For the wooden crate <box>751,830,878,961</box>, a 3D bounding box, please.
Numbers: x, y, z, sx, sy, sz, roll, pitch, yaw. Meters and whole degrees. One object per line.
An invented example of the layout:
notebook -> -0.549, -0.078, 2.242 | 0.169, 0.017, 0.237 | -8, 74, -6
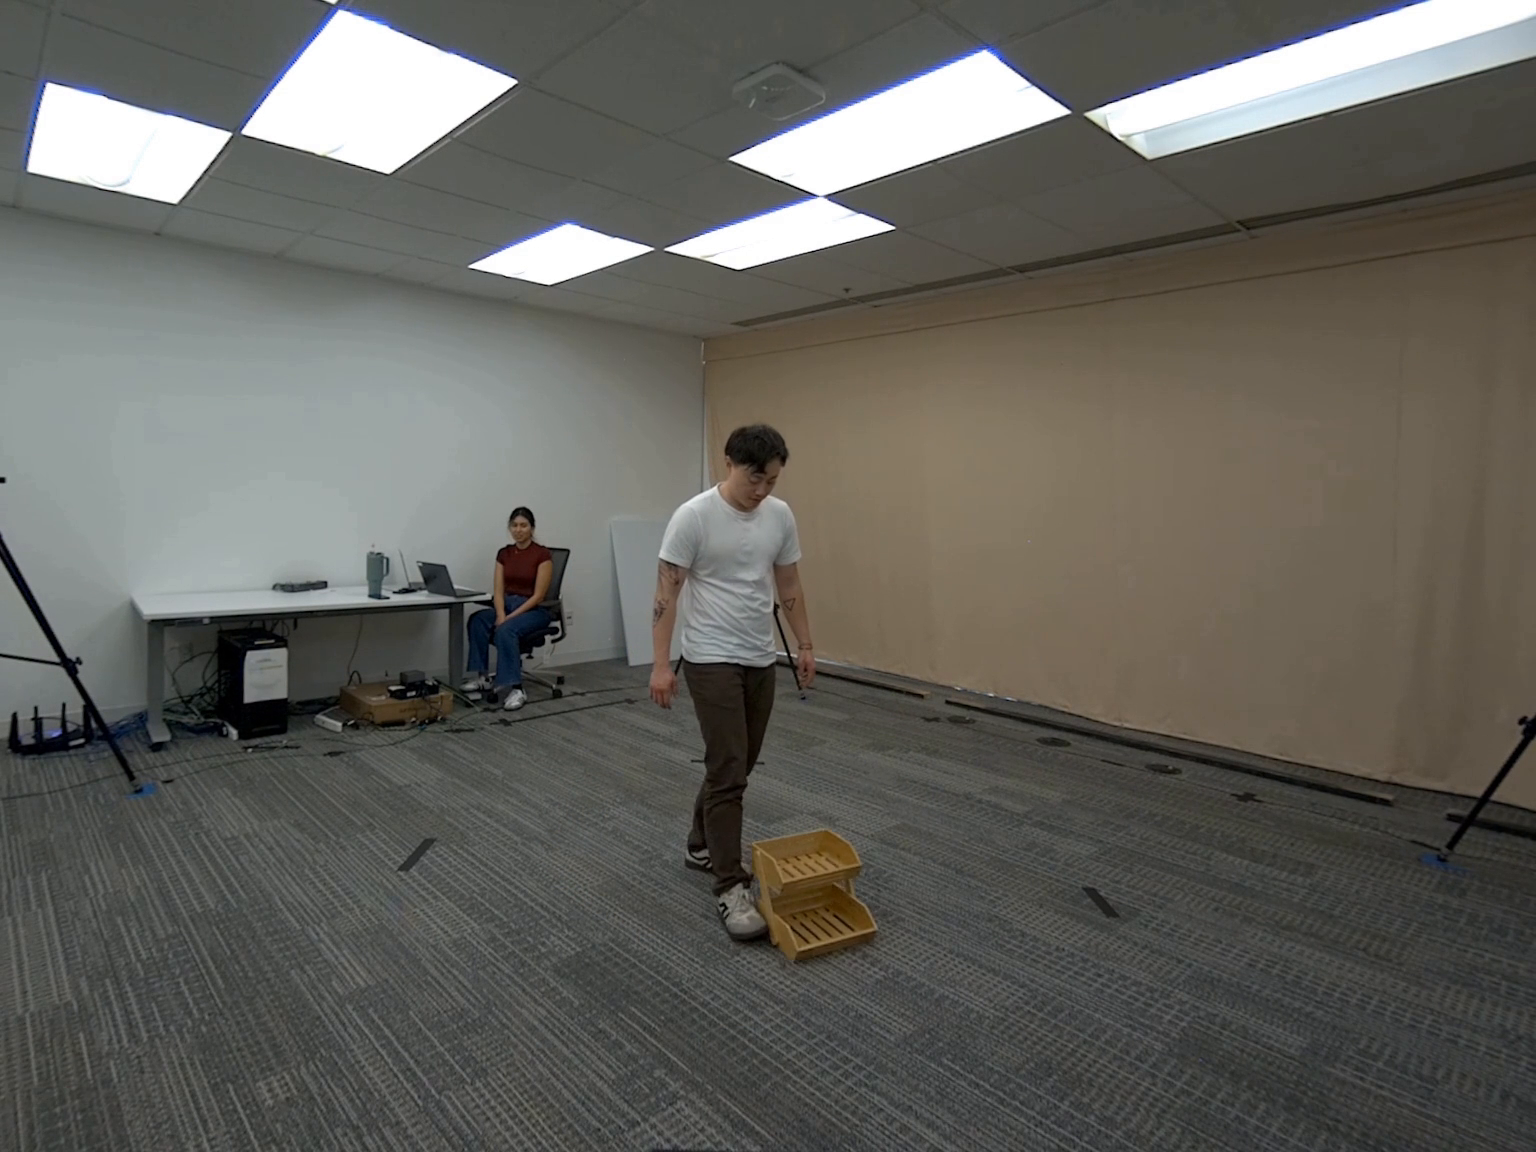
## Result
wooden crate -> 0.125, 1.014, 2.693 | 0.318, 0.272, 0.309 | -1, 5, -29
